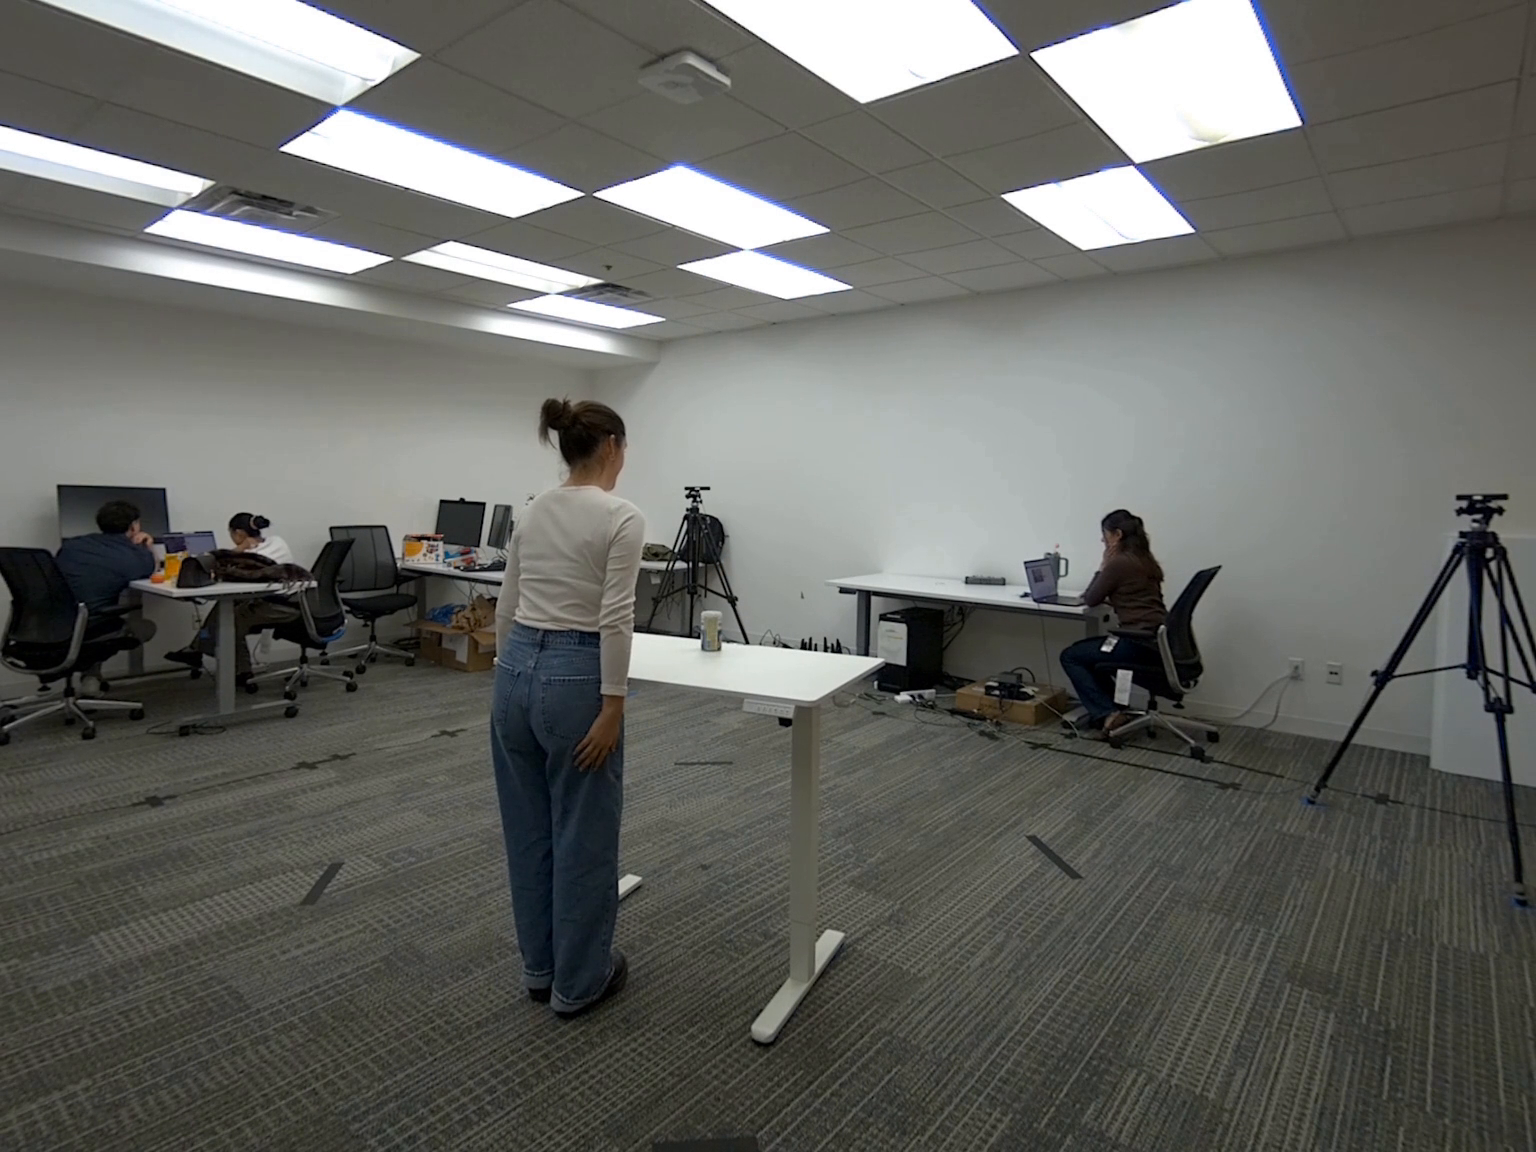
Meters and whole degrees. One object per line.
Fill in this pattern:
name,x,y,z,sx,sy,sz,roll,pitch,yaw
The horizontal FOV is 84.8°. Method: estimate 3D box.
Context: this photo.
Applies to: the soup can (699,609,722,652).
soup can,-0.183,0.170,2.659,0.067,0.121,0.067,1,4,-2
